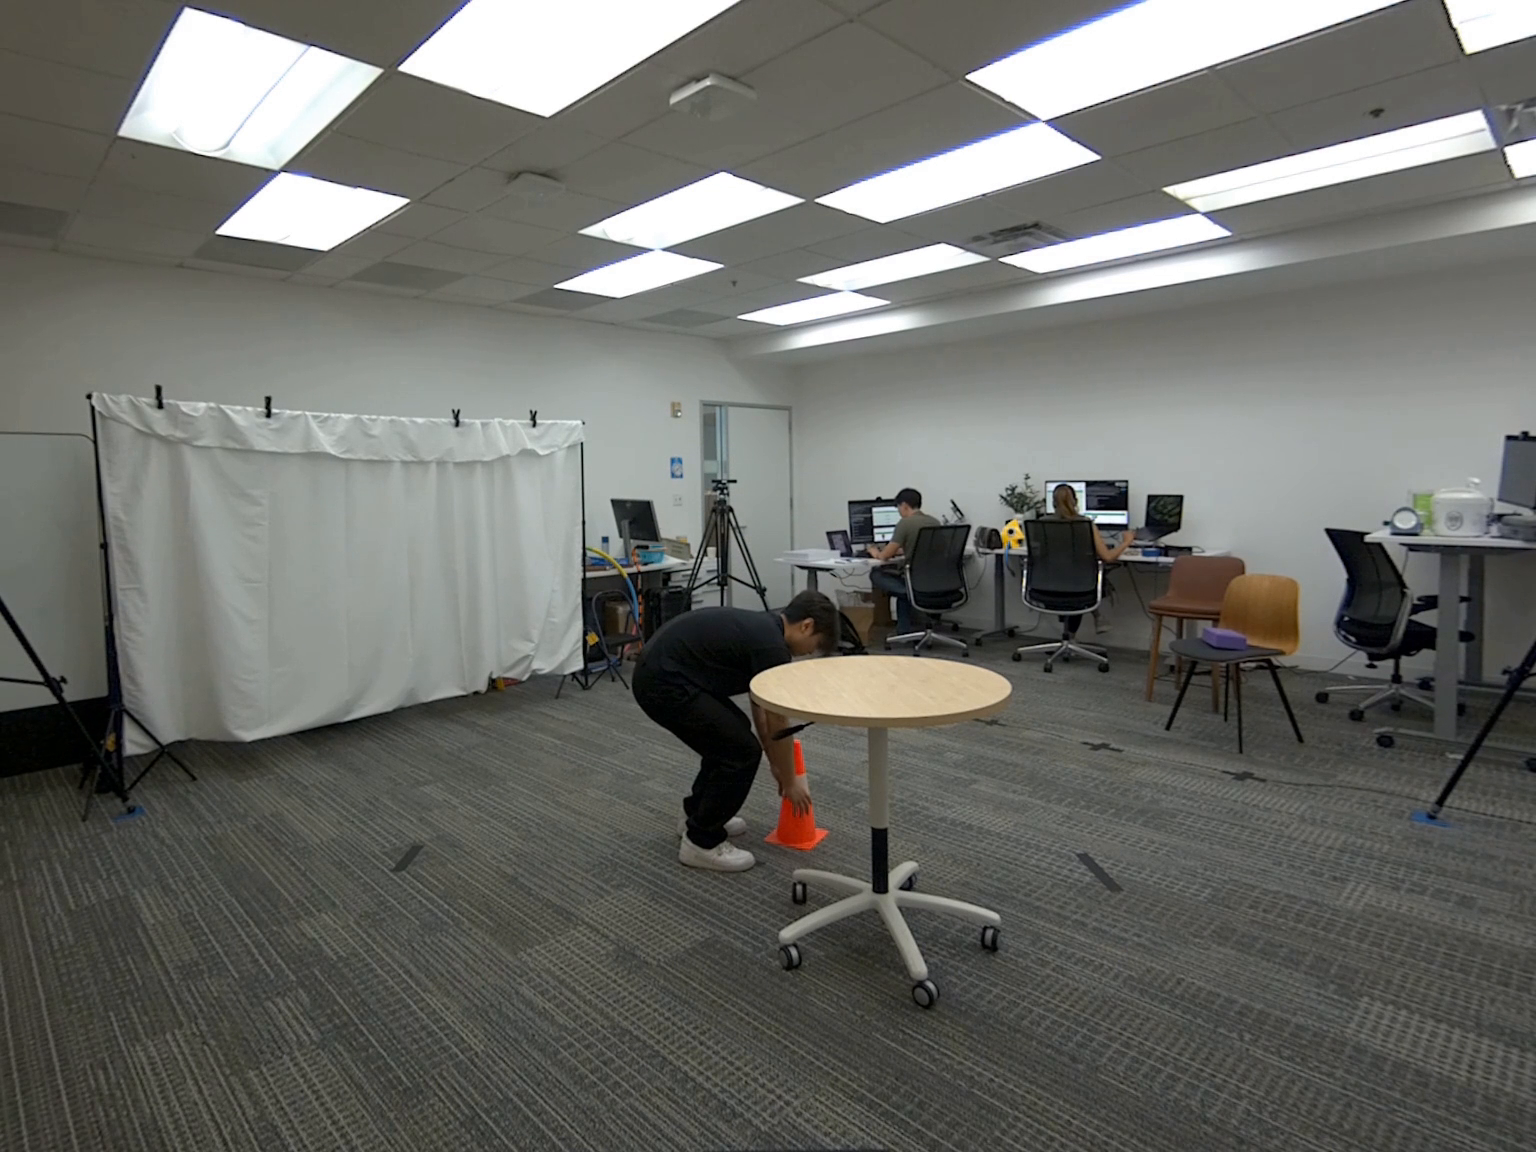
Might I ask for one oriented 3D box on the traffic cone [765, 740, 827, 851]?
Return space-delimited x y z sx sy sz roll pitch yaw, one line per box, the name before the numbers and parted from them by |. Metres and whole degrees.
traffic cone | 0.108 0.832 3.323 0.210 0.382 0.199 2 7 31
